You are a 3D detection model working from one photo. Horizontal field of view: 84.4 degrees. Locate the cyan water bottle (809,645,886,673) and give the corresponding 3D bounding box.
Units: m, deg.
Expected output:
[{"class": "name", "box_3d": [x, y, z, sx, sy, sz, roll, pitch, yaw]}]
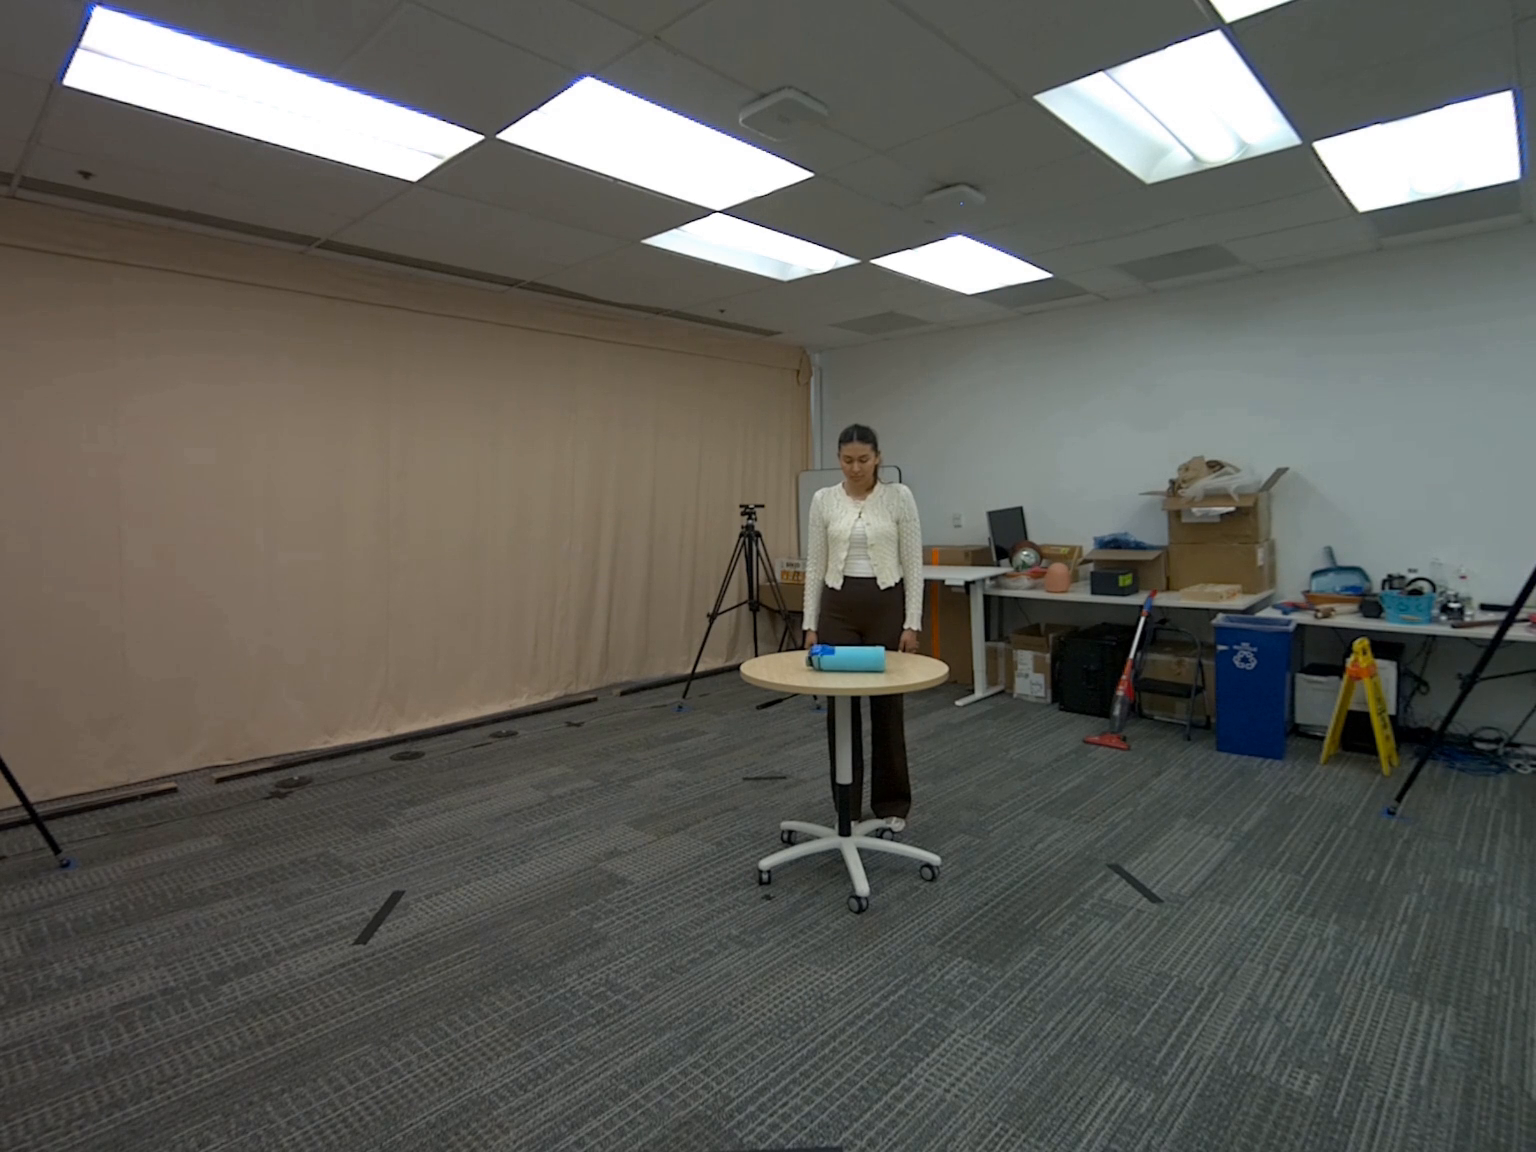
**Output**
[{"class": "cyan water bottle", "box_3d": [0.284, 0.298, 3.052, 0.286, 0.092, 0.091, 0, 4, 9]}]
